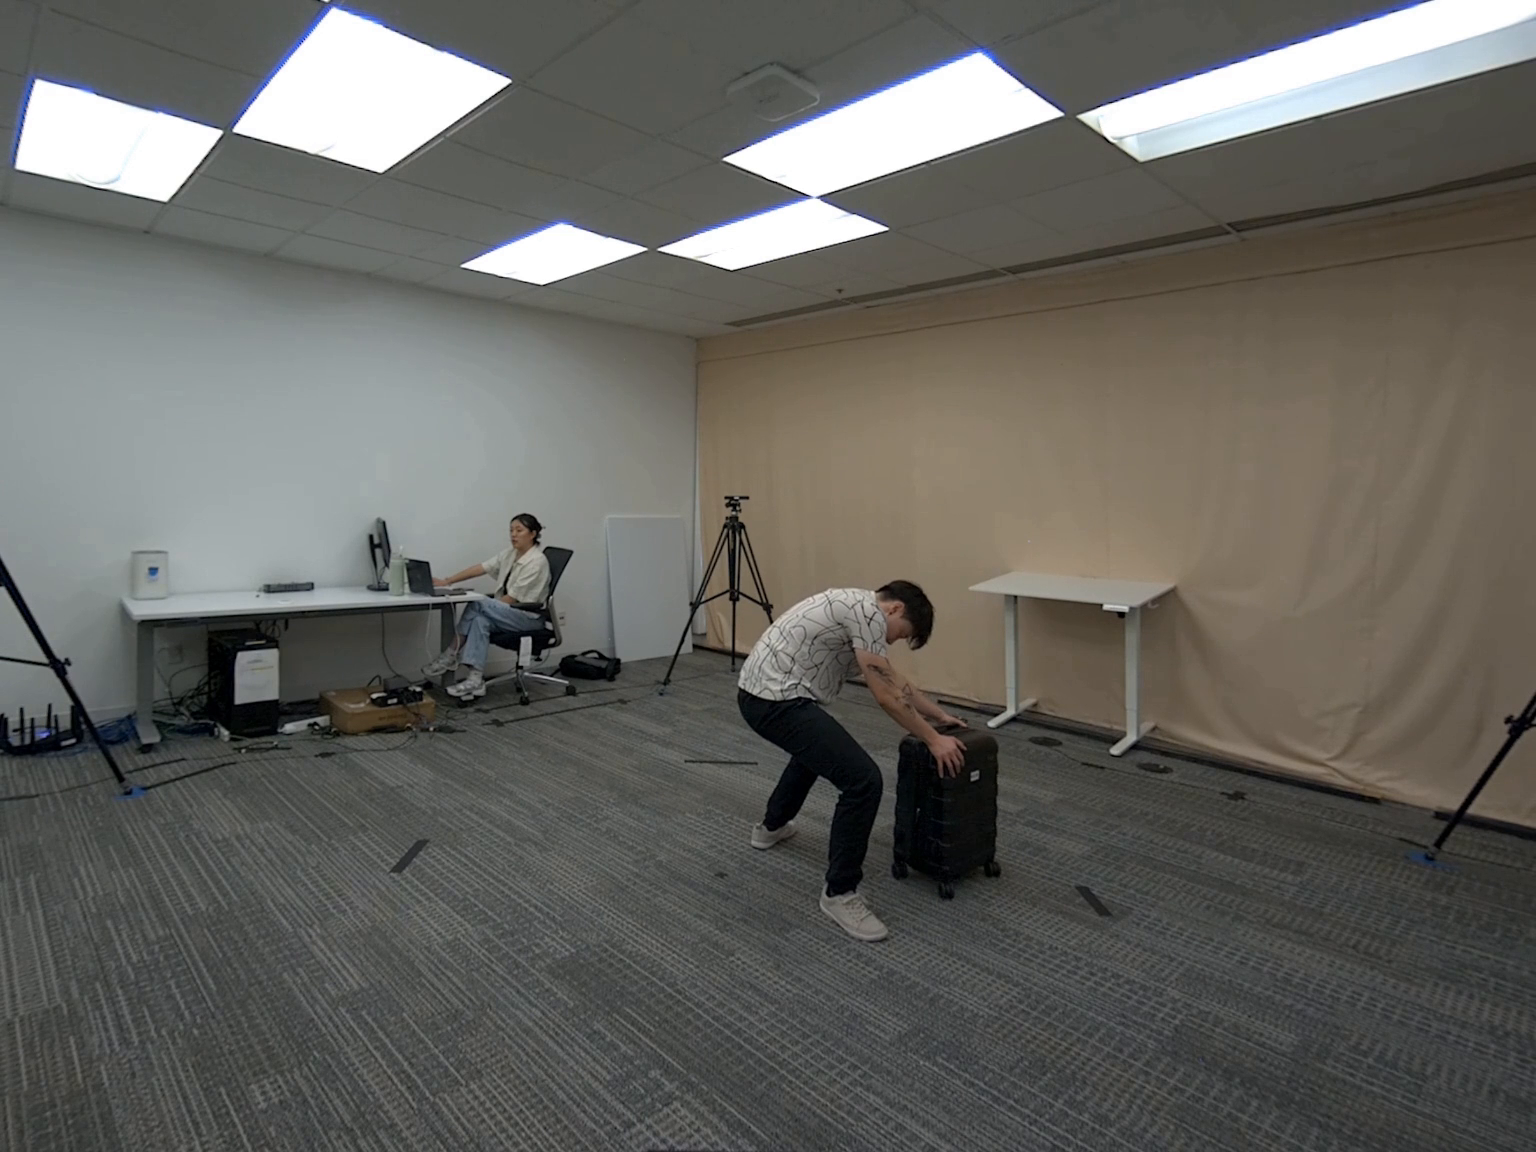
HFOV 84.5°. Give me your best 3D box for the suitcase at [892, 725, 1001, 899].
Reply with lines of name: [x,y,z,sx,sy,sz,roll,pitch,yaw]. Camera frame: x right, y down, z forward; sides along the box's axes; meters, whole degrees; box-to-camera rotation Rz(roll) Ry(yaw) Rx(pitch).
suitcase: [0.664,0.845,3.145,0.367,0.548,0.254,-1,3,-42]
